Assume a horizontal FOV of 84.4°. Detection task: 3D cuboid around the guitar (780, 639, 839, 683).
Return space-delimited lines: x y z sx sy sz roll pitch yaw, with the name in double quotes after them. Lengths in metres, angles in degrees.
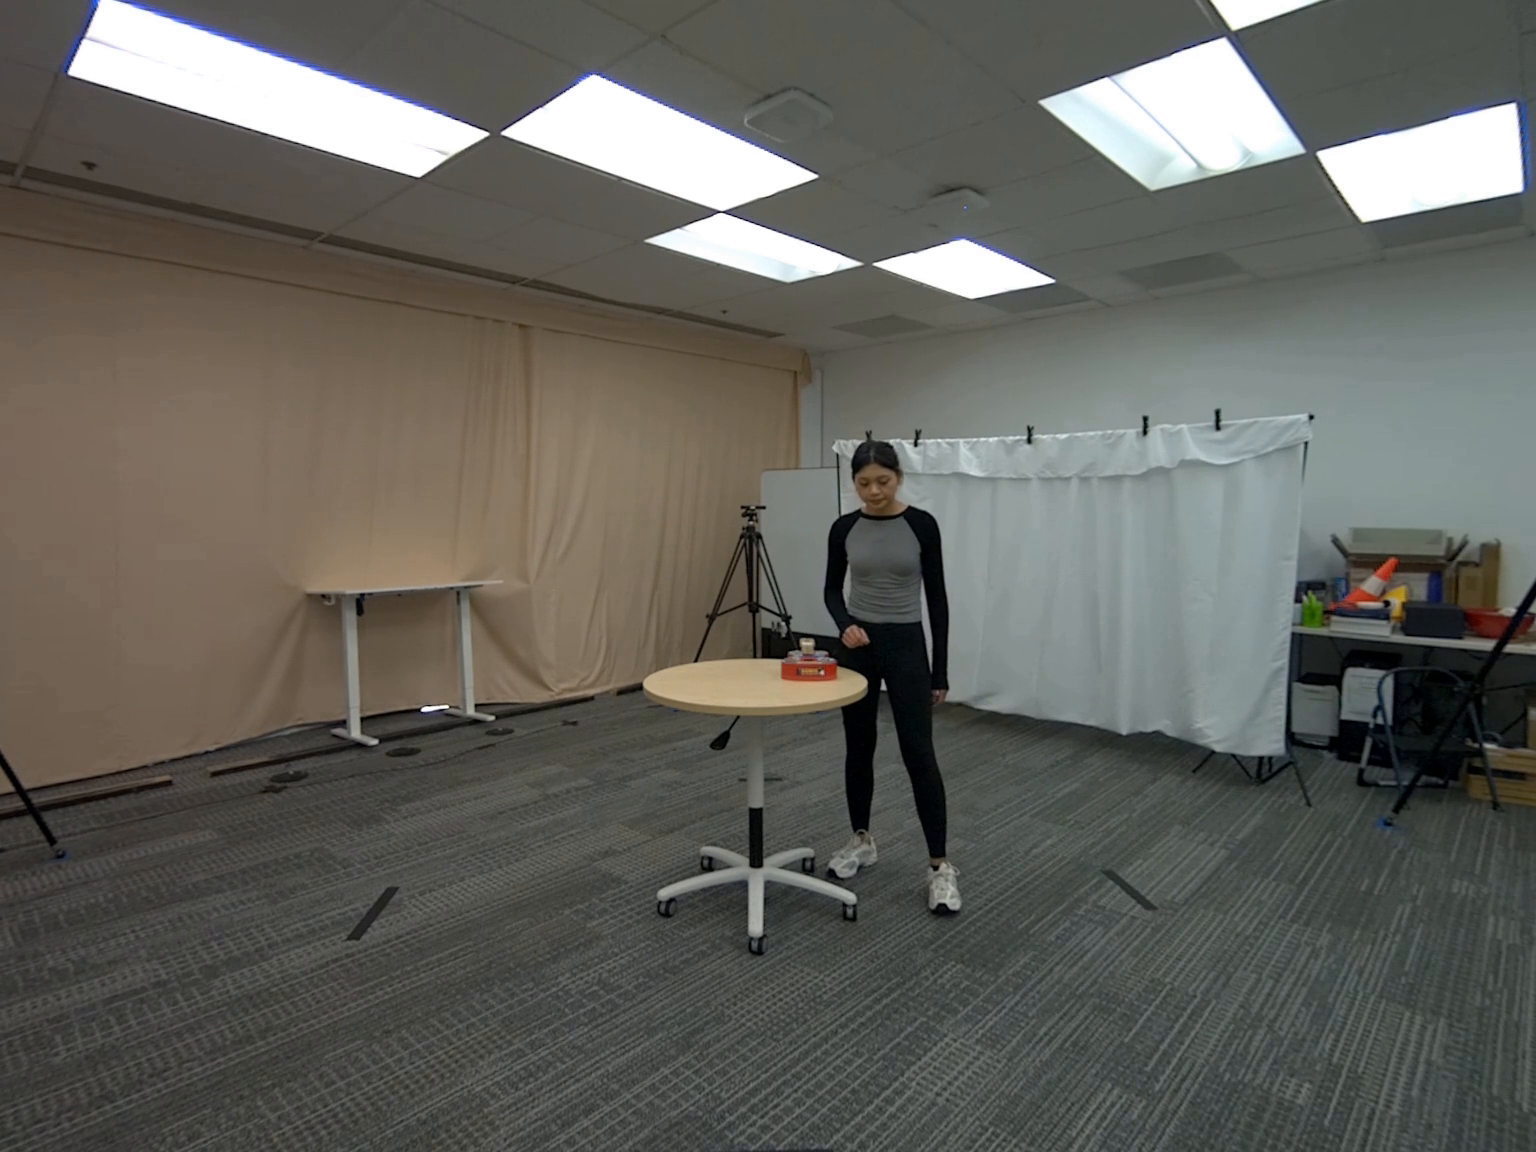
0.176 0.305 3.093 0.195 0.070 0.493 0 6 10 "guitar"
